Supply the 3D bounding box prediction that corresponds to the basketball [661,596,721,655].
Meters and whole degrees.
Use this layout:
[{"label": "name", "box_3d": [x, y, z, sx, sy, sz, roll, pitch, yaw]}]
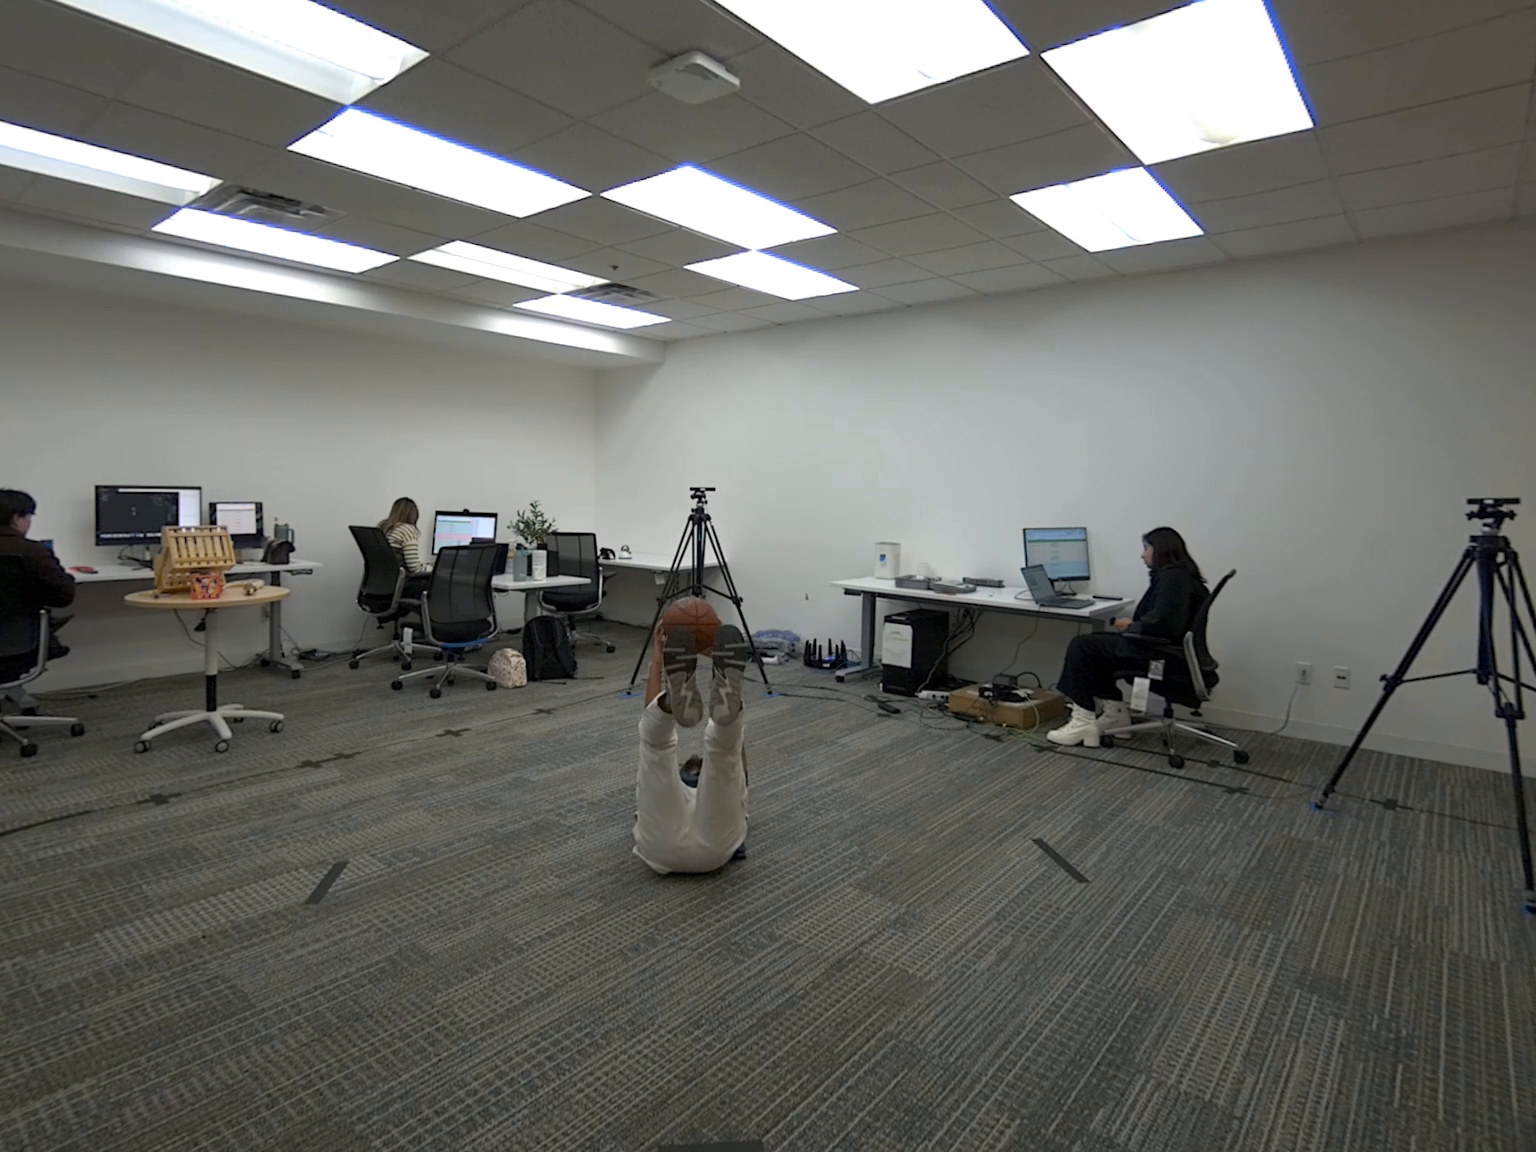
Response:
[{"label": "basketball", "box_3d": [-0.336, 0.209, 3.579, 0.235, 0.235, 0.237, 1, 4, -2]}]
